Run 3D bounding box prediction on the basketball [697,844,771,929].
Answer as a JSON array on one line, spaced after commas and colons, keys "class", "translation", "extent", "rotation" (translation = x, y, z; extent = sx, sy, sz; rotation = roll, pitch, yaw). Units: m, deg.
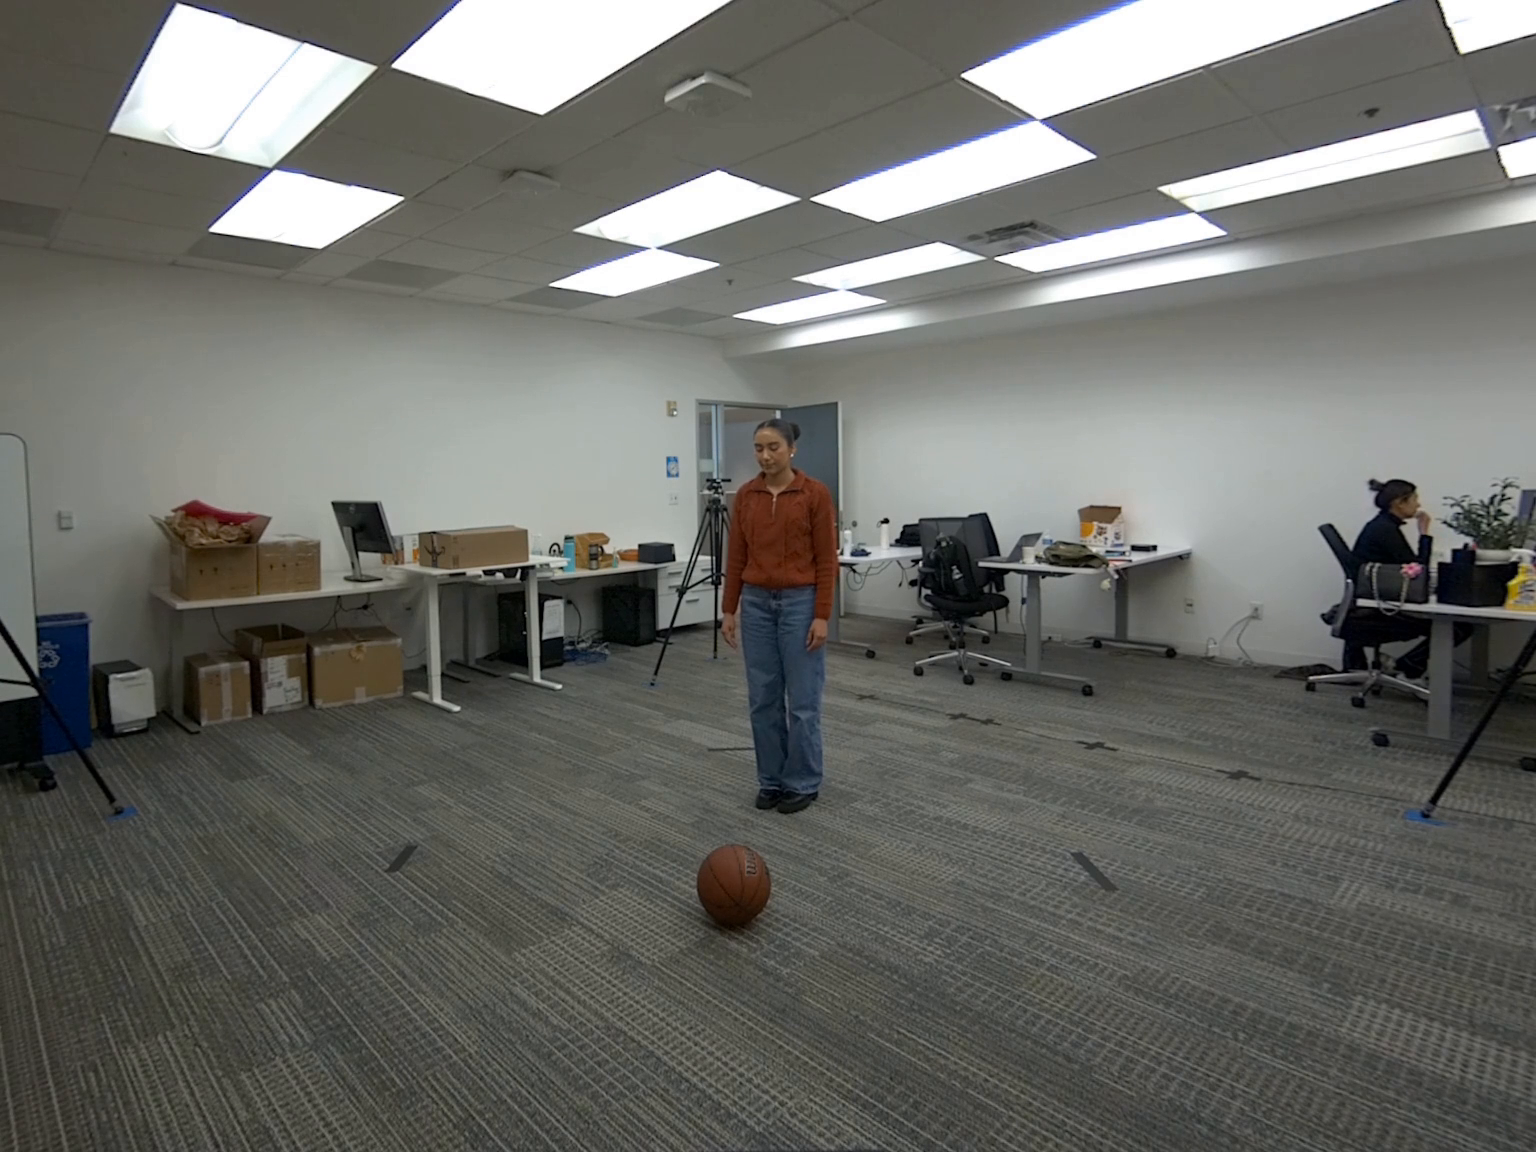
[{"class": "basketball", "translation": [-0.102, 0.969, 2.706], "extent": [0.236, 0.235, 0.237], "rotation": [-1, 5, -2]}]
